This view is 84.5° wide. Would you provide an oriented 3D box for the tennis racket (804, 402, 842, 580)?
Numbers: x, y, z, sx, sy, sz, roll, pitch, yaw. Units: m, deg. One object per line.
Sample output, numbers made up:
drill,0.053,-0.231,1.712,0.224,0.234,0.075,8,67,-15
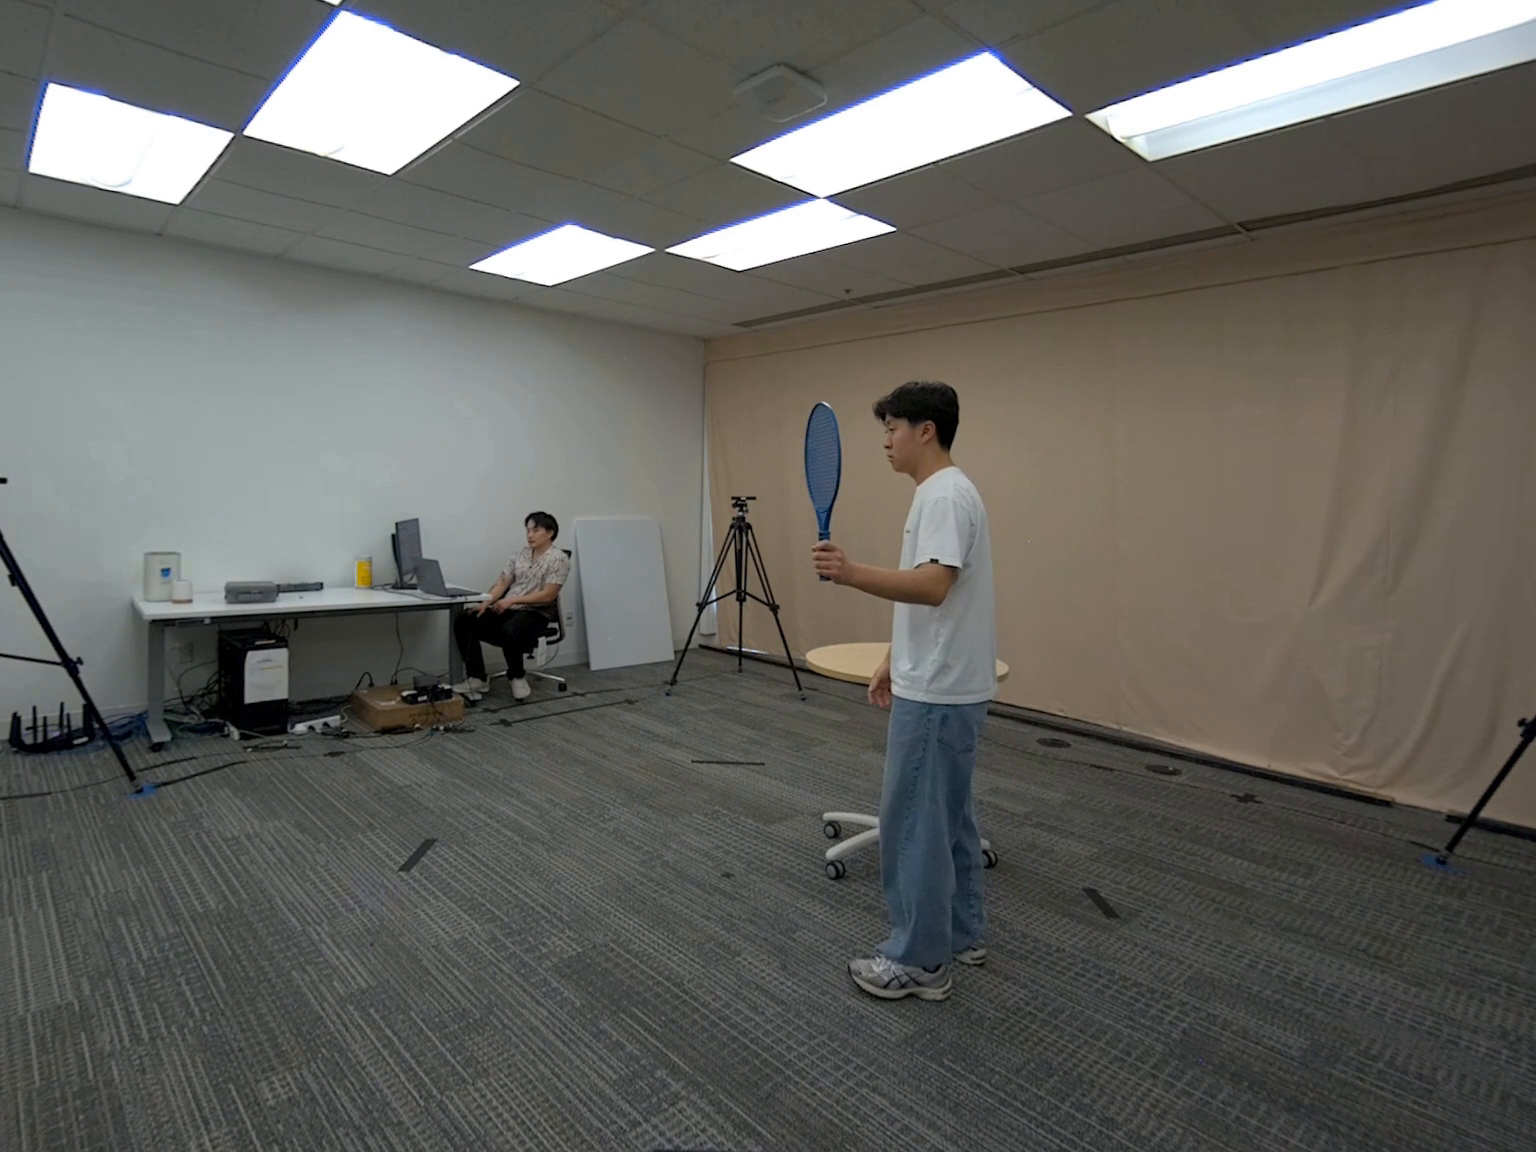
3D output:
tennis racket,0.124,-0.205,2.043,0.031,0.433,0.217,-4,1,-22
